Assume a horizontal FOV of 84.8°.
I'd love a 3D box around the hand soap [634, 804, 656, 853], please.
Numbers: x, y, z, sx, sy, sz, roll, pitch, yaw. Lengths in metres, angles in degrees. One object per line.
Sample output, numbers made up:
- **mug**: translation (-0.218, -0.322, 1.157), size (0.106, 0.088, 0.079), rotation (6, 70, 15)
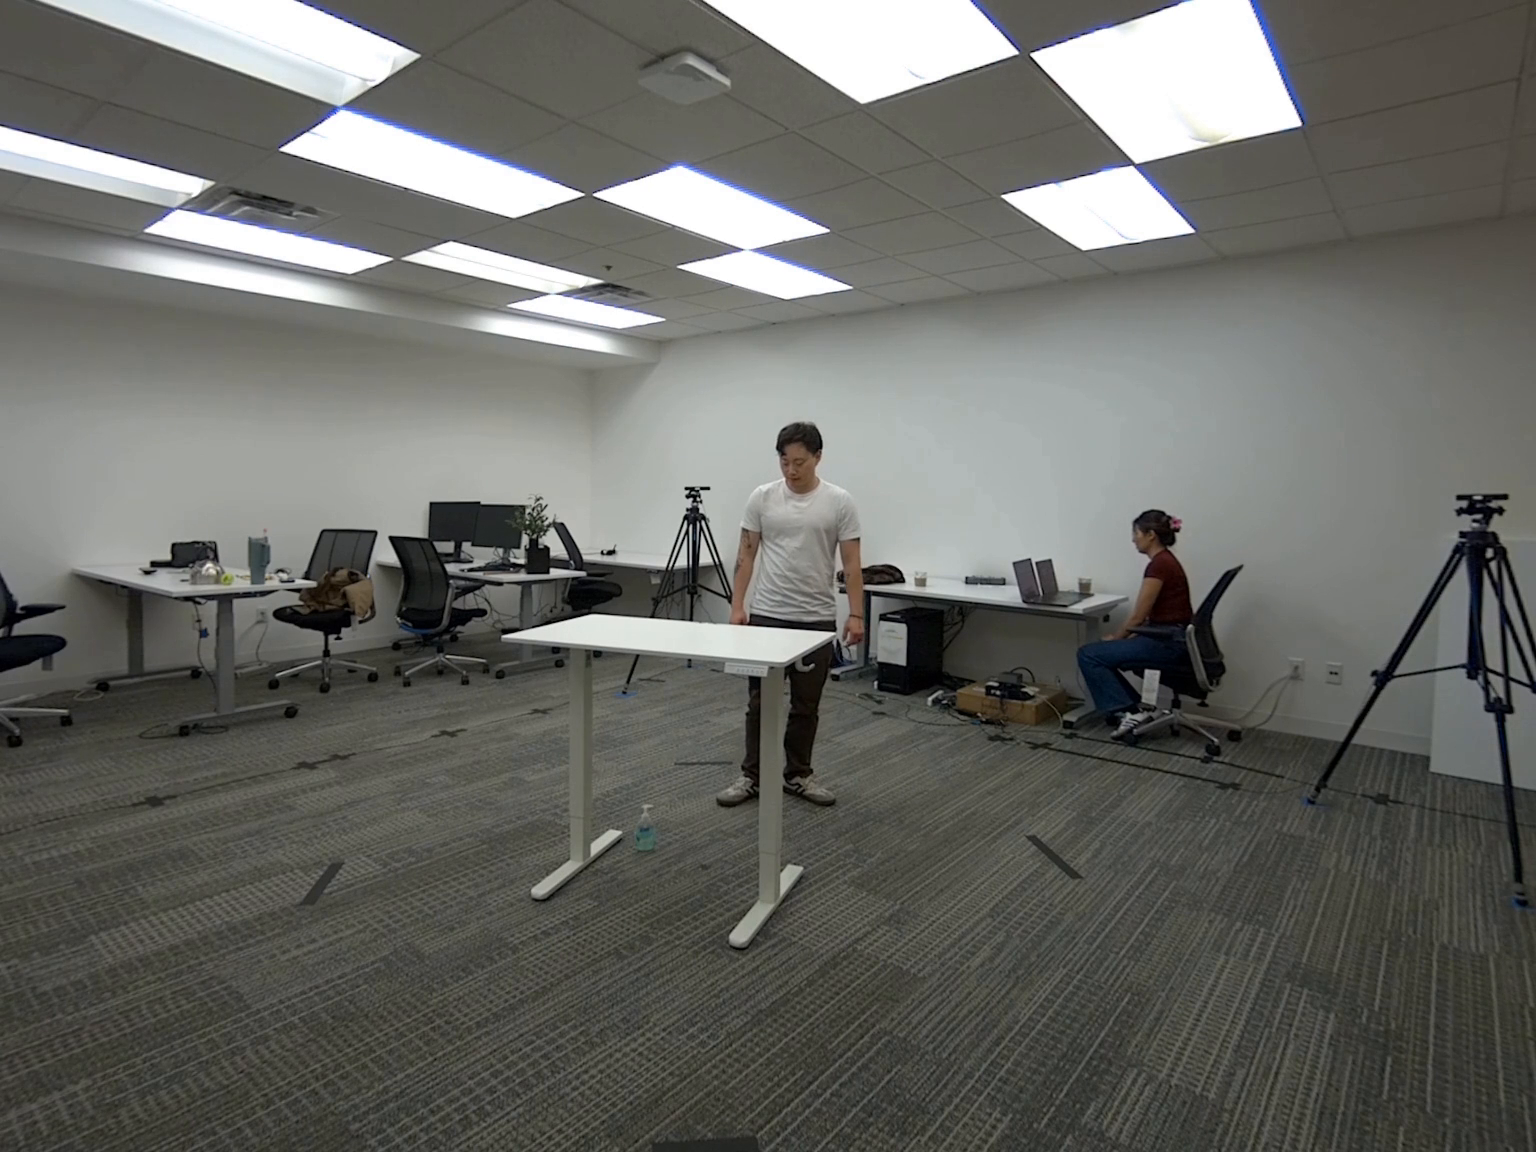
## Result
- **hand soap**: translation (-0.482, 0.964, 3.268), size (0.083, 0.168, 0.044), rotation (0, 2, -11)
